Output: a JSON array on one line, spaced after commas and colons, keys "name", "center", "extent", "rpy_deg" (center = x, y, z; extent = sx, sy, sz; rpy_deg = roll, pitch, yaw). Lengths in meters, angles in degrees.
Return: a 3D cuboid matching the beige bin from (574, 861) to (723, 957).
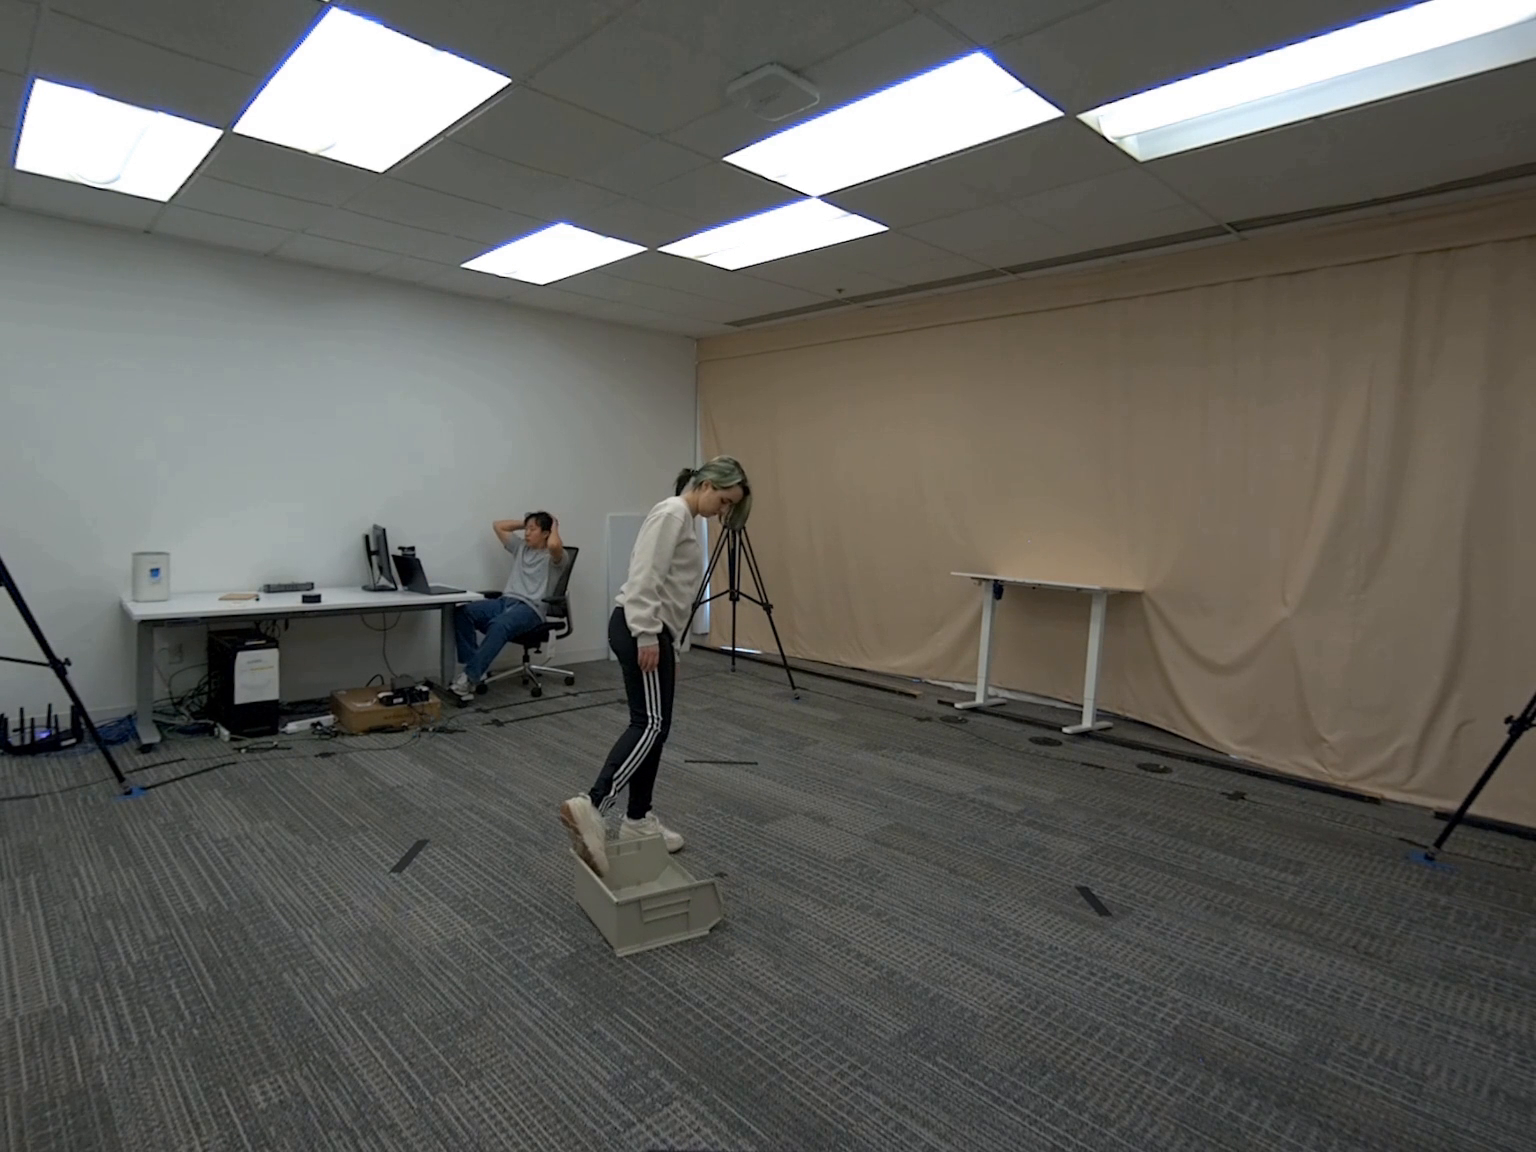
[{"name": "beige bin", "center": [-0.413, 1.037, 2.787], "extent": [0.370, 0.188, 0.432], "rpy_deg": [-3, 7, -31]}]
